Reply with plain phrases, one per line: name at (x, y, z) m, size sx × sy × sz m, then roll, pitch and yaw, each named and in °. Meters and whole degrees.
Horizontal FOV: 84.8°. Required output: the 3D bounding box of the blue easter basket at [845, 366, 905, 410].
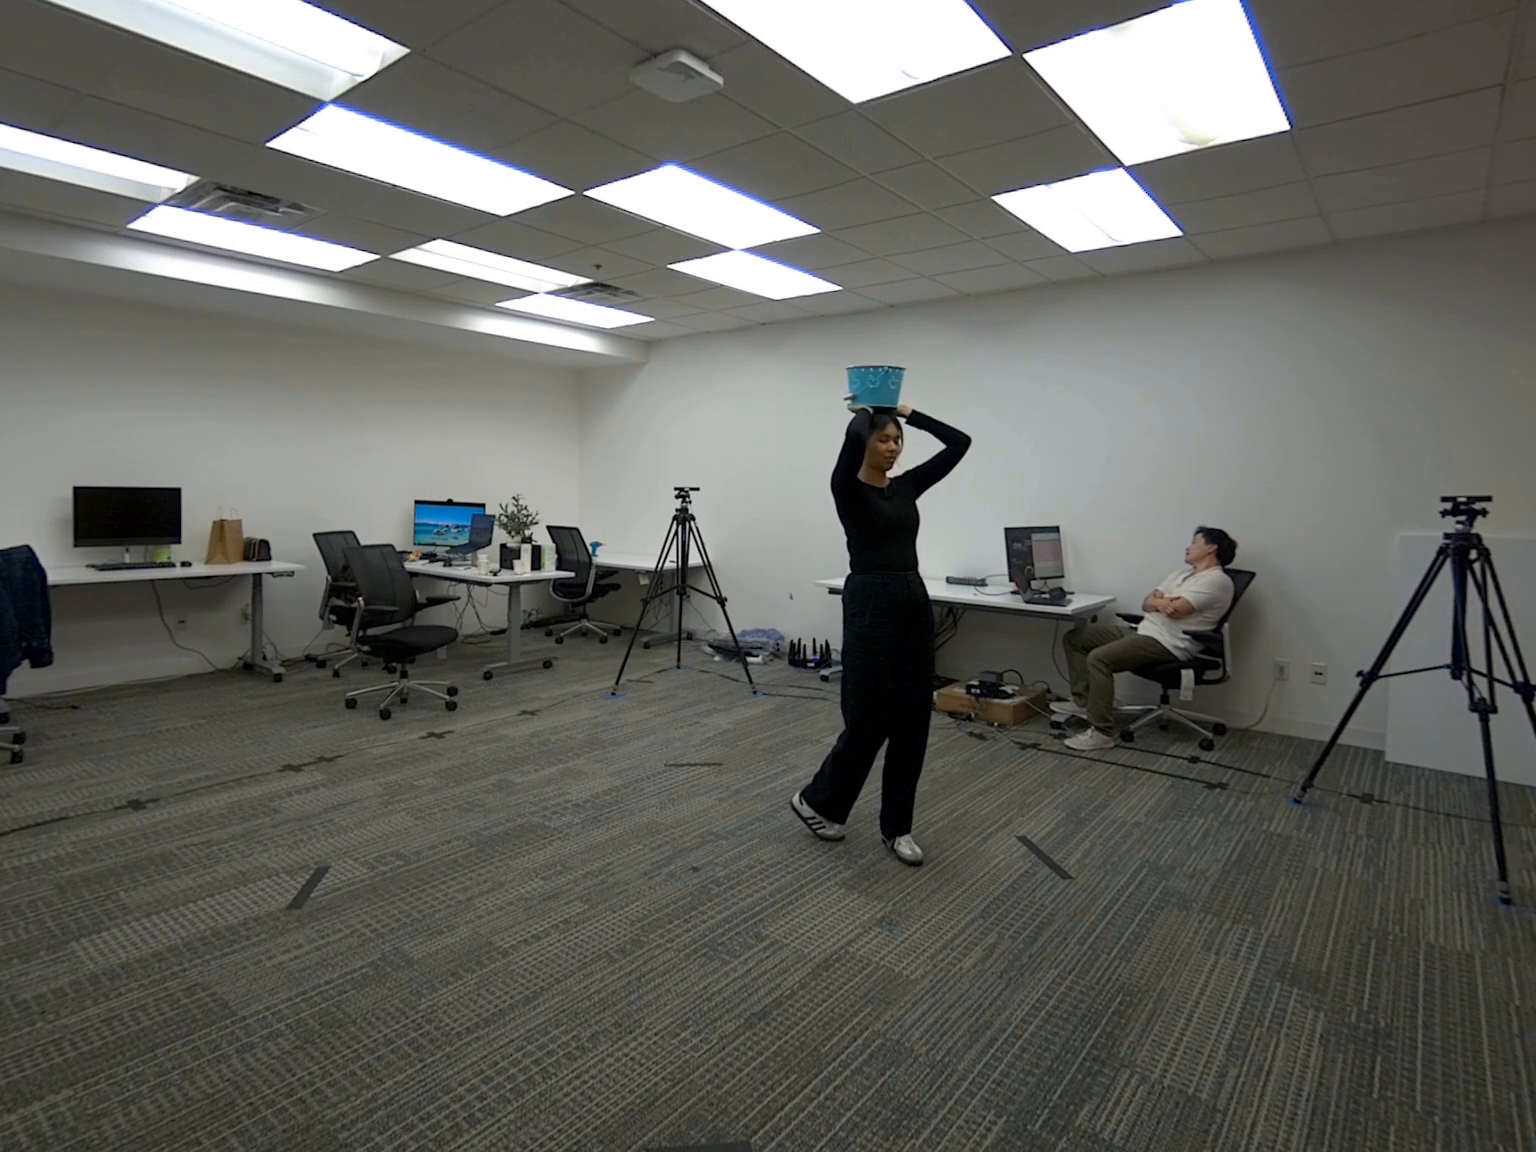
blue easter basket at (0.410, -0.738, 3.336) m, size 0.243 × 0.155 × 0.245 m, roll 2°, pitch 8°, yaw -2°
